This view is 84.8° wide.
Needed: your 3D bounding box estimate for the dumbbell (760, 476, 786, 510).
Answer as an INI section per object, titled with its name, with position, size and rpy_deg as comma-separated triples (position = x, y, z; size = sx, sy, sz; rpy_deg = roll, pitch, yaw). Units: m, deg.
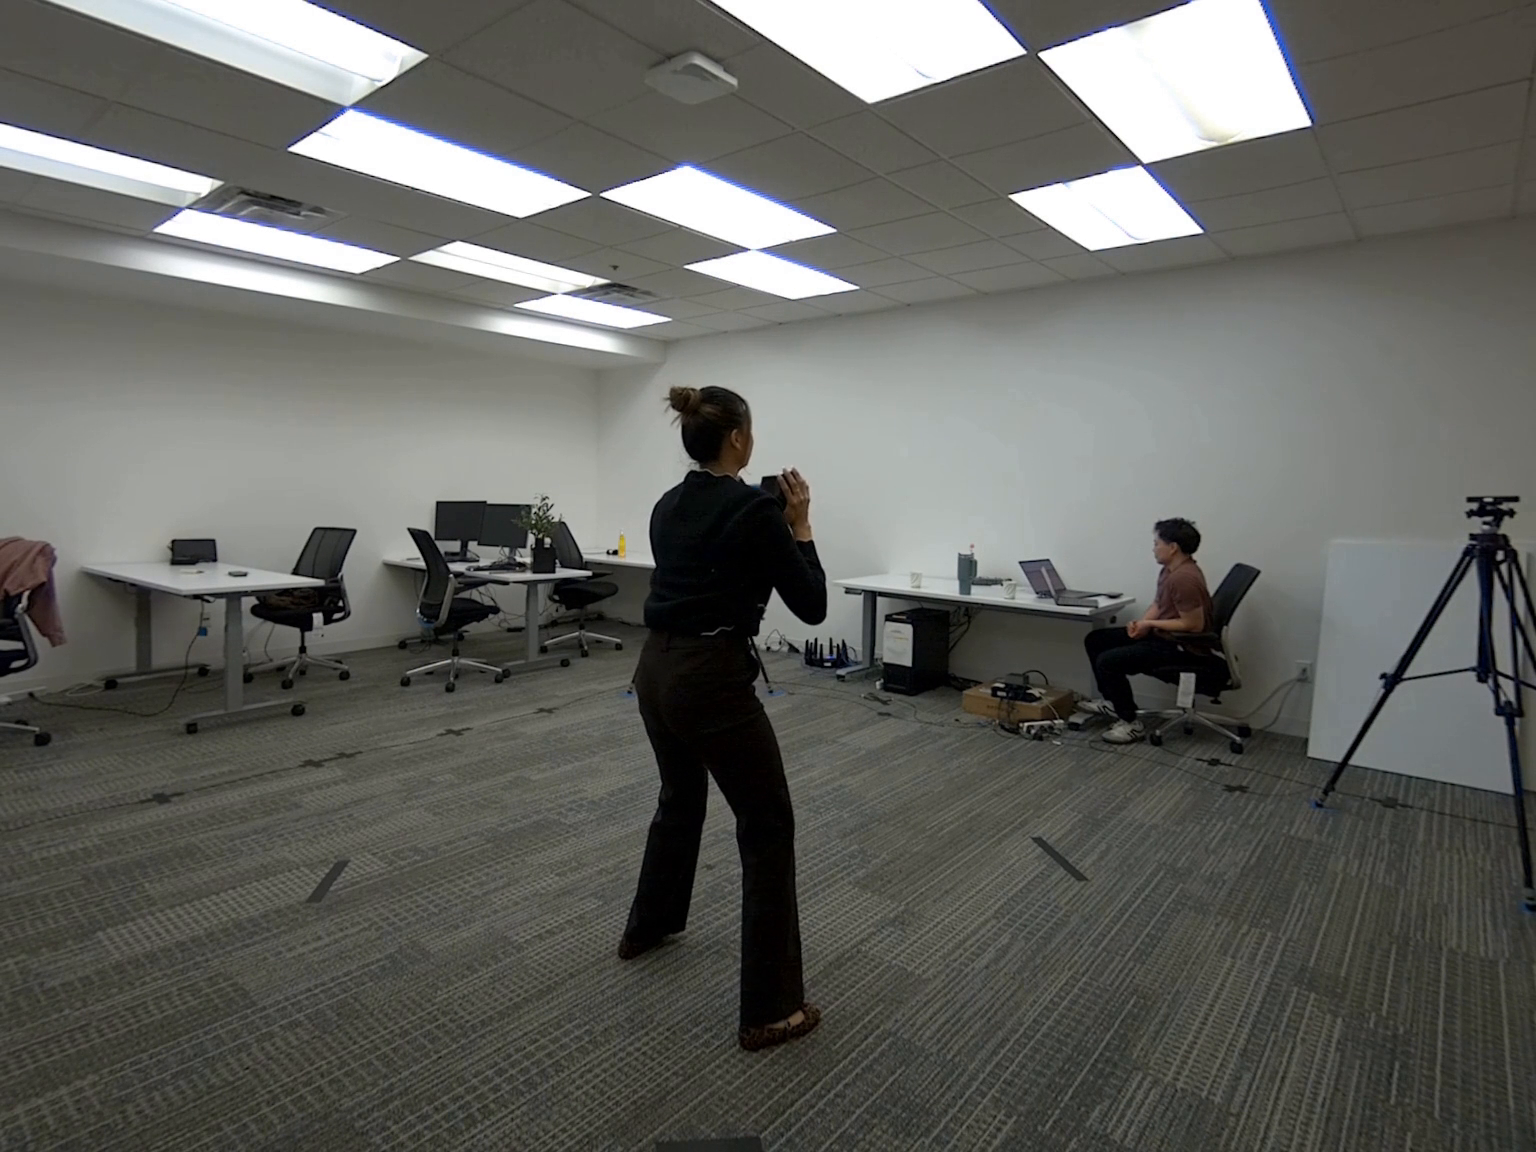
[dumbbell]
position = -0.045, -0.231, 2.378
size = 0.303, 0.109, 0.118
rpy_deg = 2, -41, 48
